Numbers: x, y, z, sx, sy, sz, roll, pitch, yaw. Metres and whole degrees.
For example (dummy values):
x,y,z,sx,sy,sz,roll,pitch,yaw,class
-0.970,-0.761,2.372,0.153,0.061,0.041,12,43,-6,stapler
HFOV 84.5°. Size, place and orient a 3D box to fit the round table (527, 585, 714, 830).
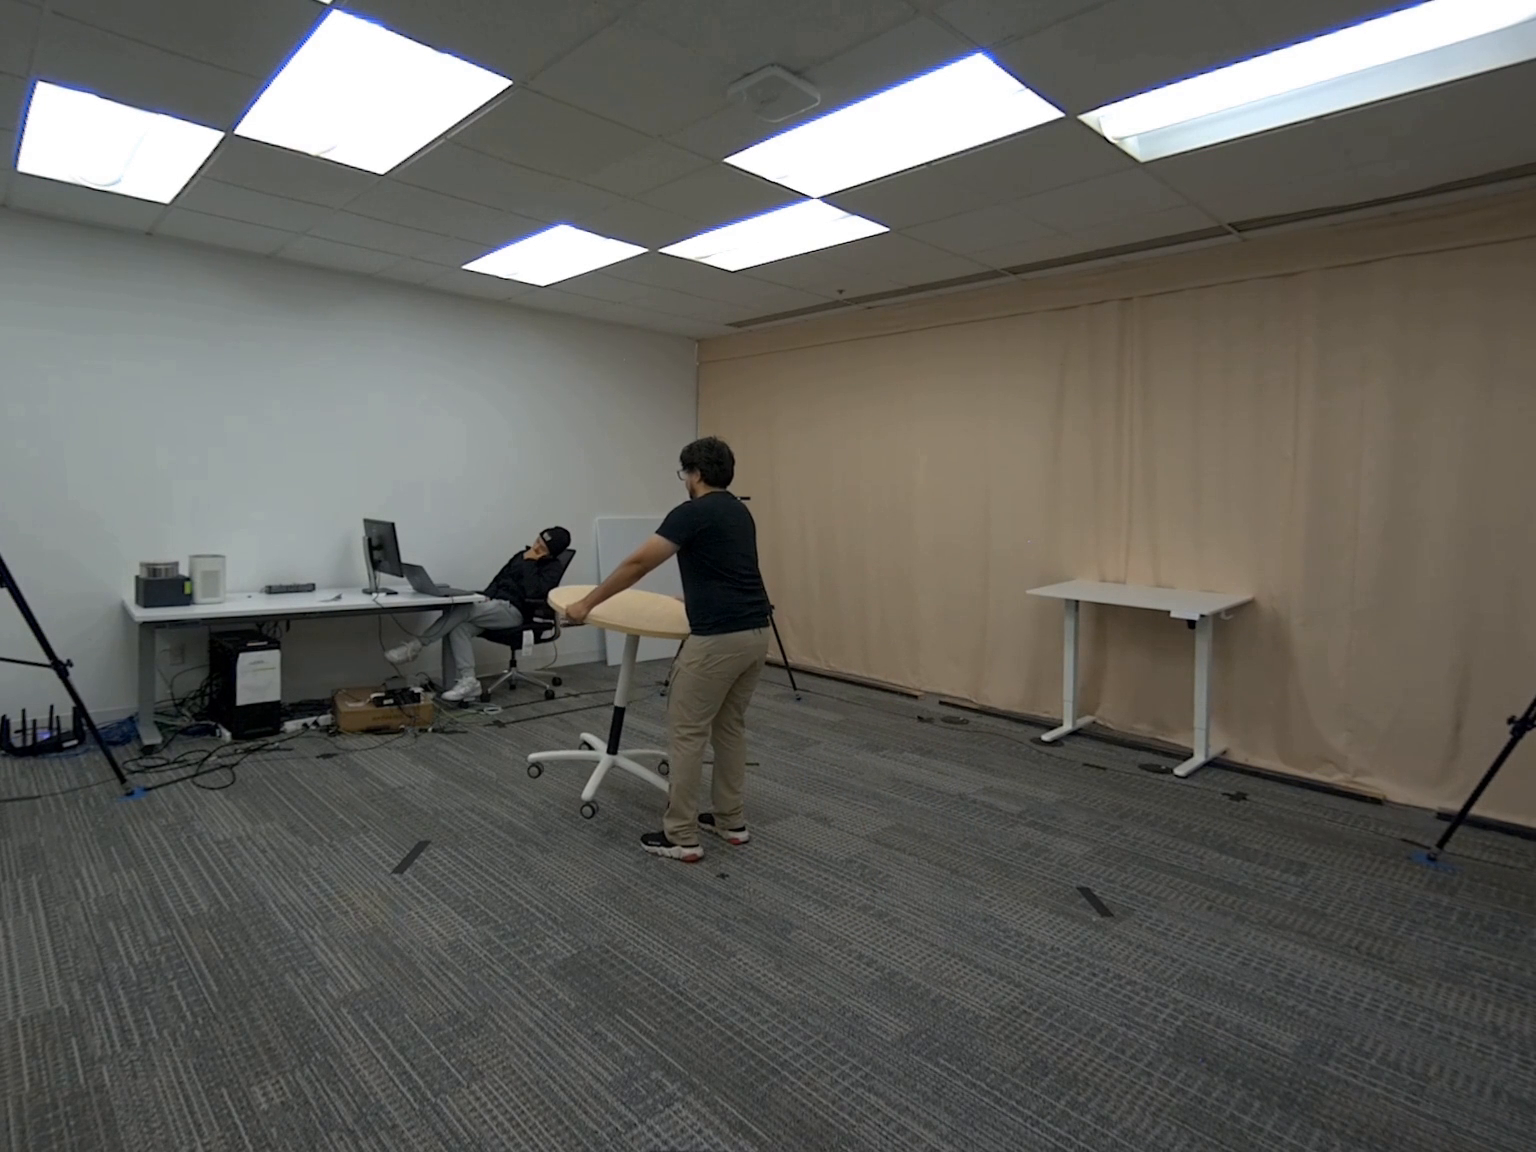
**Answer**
x,y,z,sx,sy,sz,roll,pitch,yaw,class
-0.647,0.527,3.637,0.784,0.783,0.790,10,8,-3,round table
